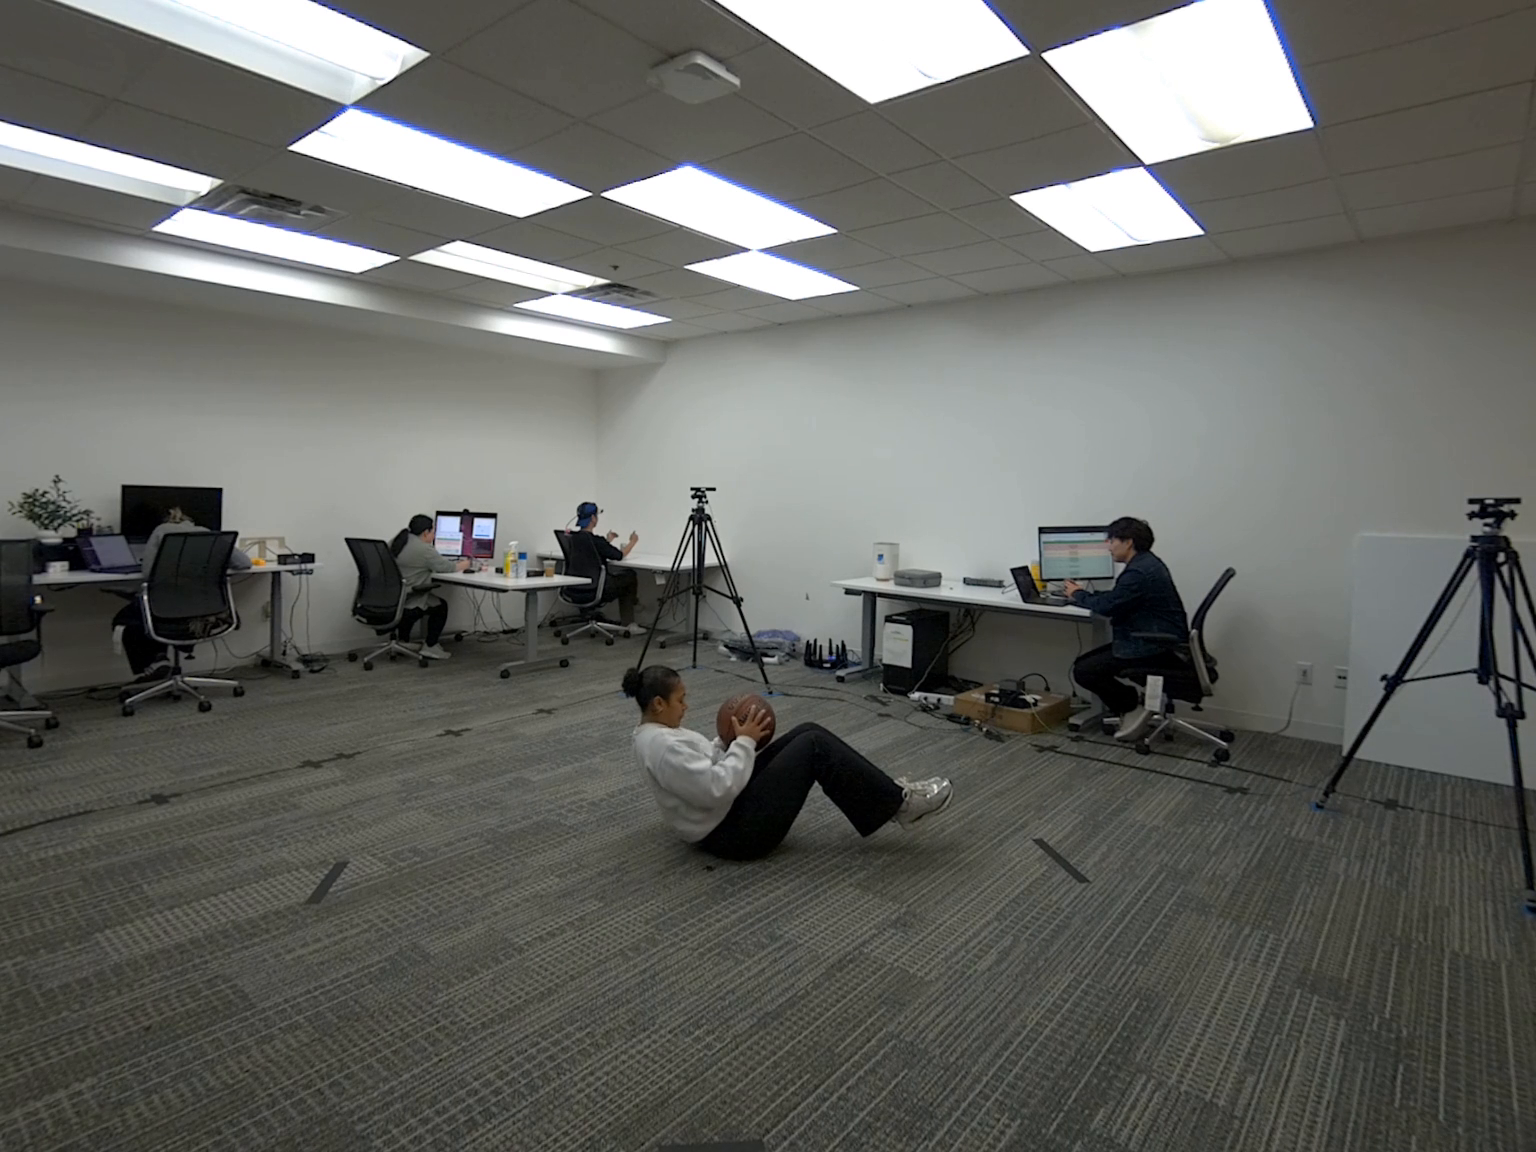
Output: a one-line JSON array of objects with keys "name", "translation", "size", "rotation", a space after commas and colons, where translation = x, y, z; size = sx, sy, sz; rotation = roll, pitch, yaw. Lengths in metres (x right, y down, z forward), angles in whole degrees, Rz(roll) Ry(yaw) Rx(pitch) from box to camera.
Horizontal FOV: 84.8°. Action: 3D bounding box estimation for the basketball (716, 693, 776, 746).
[{"name": "basketball", "translation": [-0.111, 0.601, 3.380], "size": [0.235, 0.235, 0.237], "rotation": [1, 4, -2]}]
